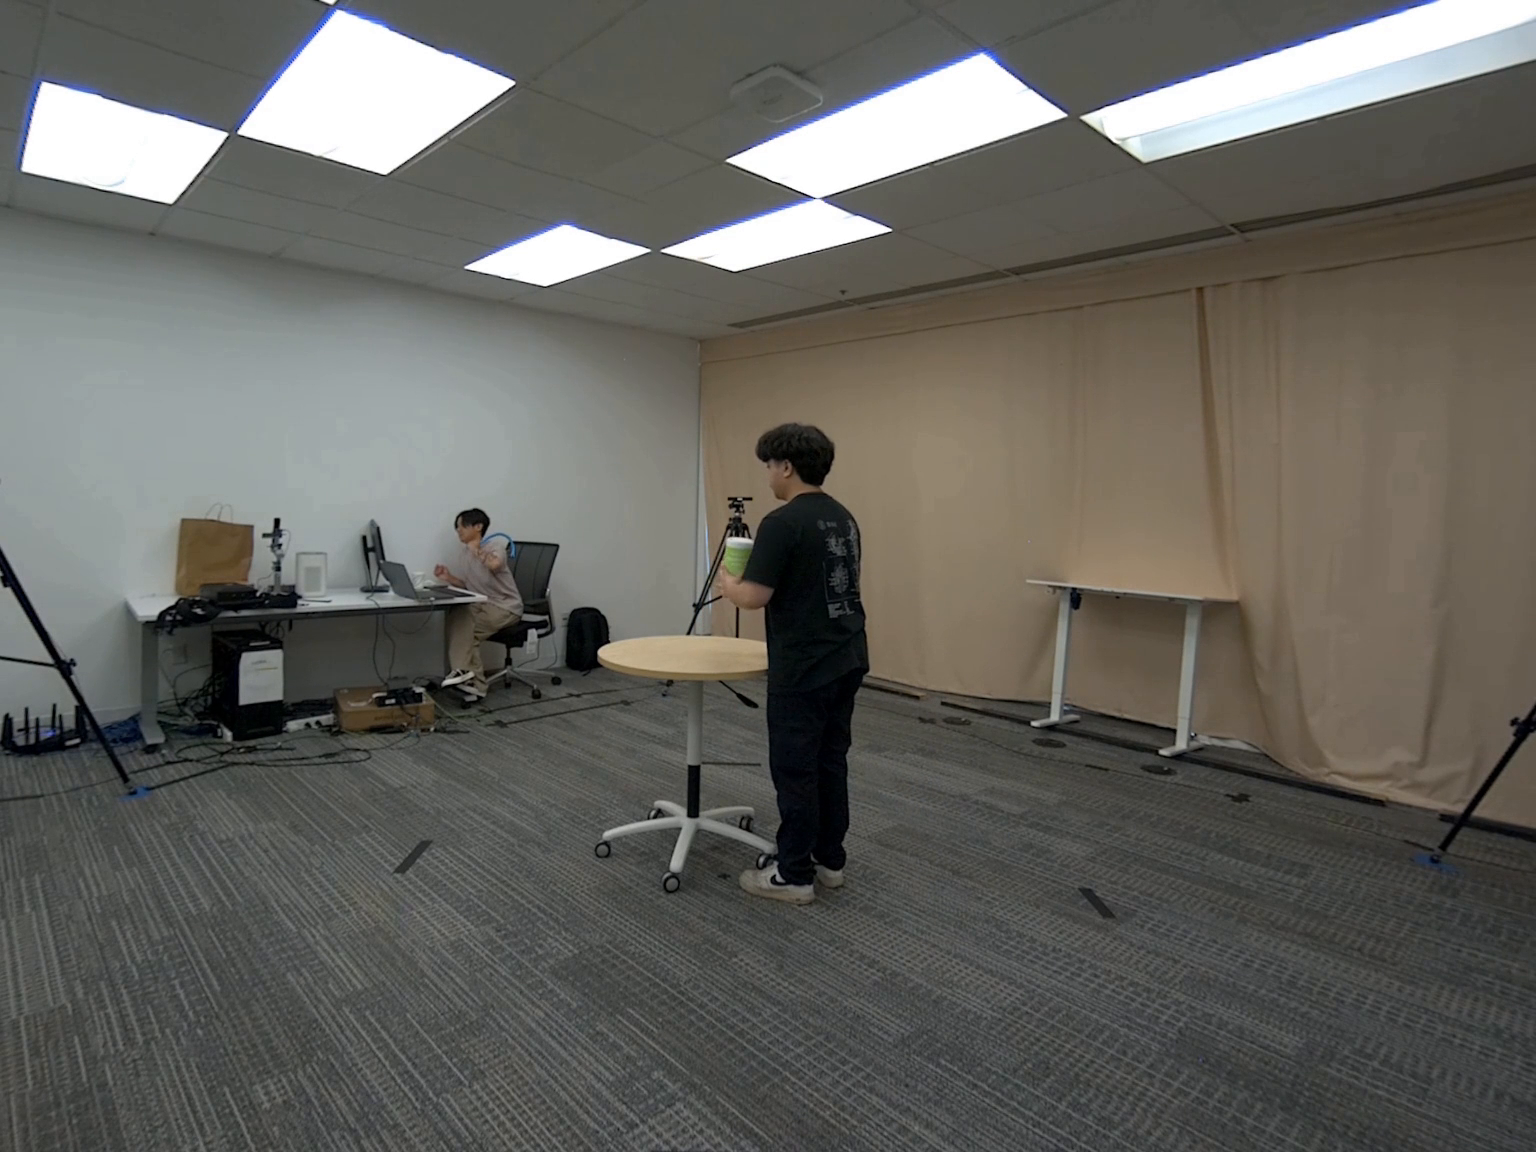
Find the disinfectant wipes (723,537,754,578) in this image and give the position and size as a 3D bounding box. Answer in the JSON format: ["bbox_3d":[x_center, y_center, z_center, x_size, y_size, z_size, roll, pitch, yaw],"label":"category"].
[{"bbox_3d":[-0.113,-0.027,3.196,0.117,0.216,0.118,5,8,-2],"label":"disinfectant wipes"}]
